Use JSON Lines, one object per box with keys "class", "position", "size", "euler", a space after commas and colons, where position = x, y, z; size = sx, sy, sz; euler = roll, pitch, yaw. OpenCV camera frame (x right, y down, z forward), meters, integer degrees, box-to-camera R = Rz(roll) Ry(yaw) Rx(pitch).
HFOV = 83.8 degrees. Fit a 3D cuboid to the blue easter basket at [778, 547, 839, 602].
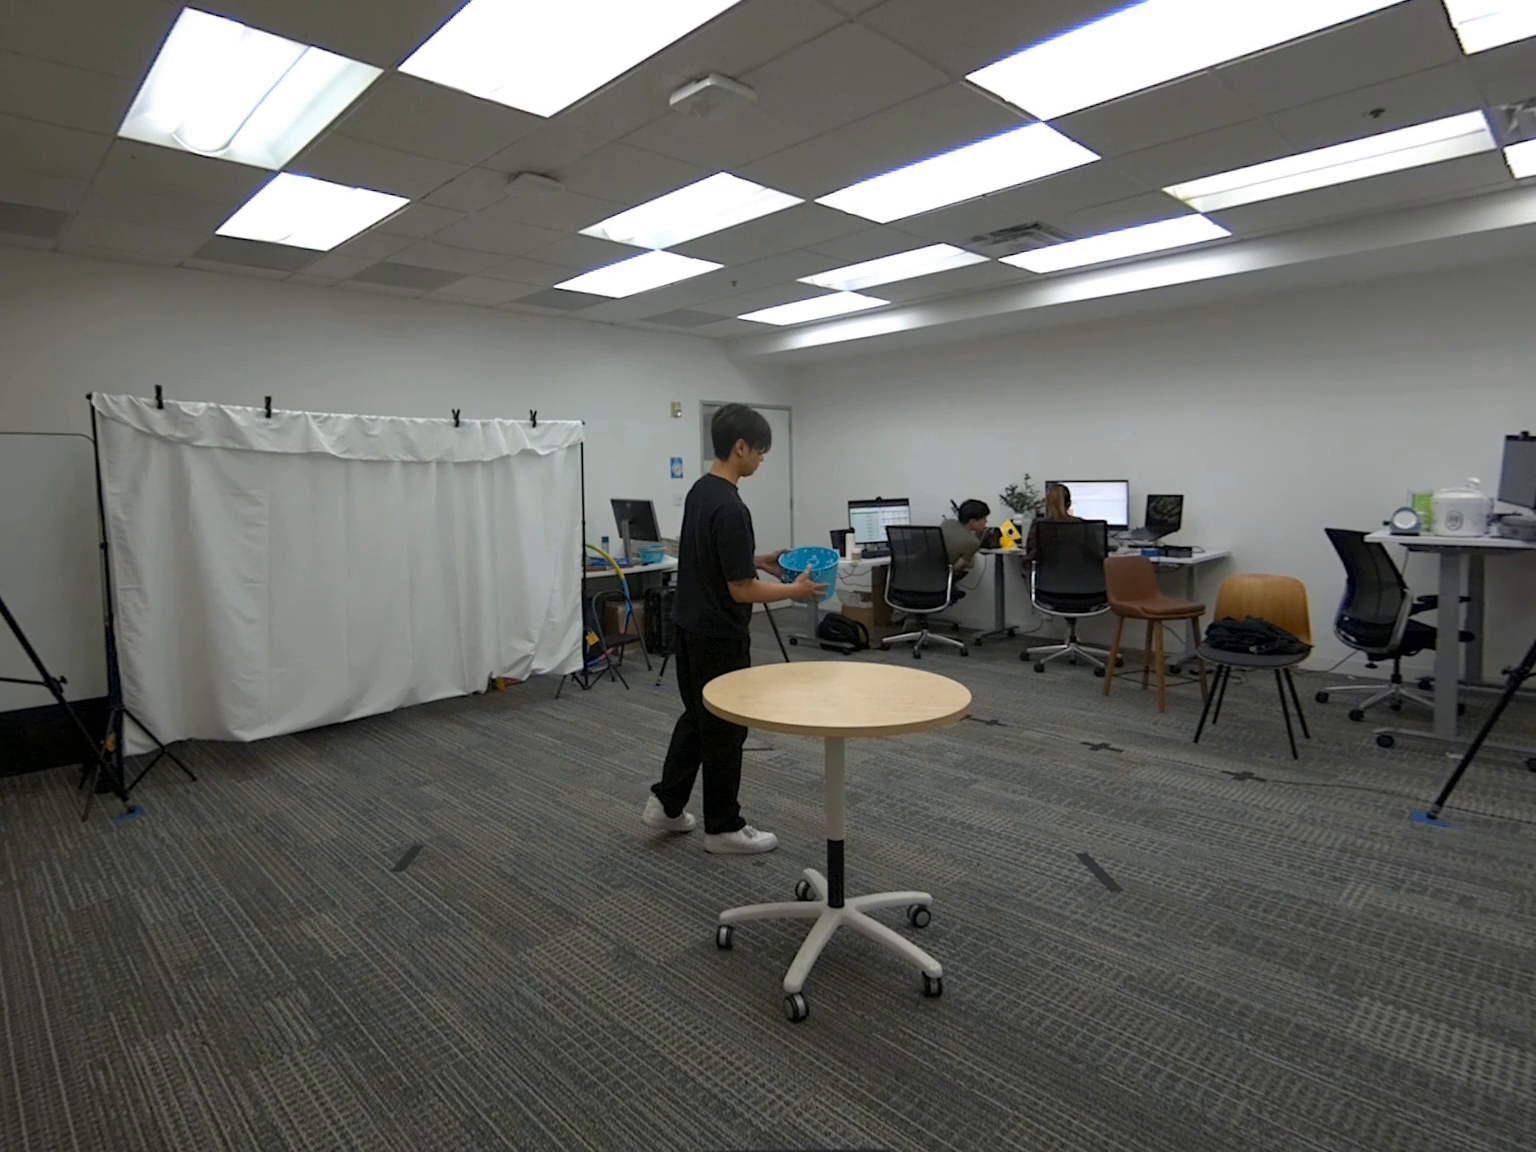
{"class": "blue easter basket", "position": [0.154, -0.001, 3.305], "size": [0.244, 0.153, 0.248], "euler": [-5, 21, 0]}
